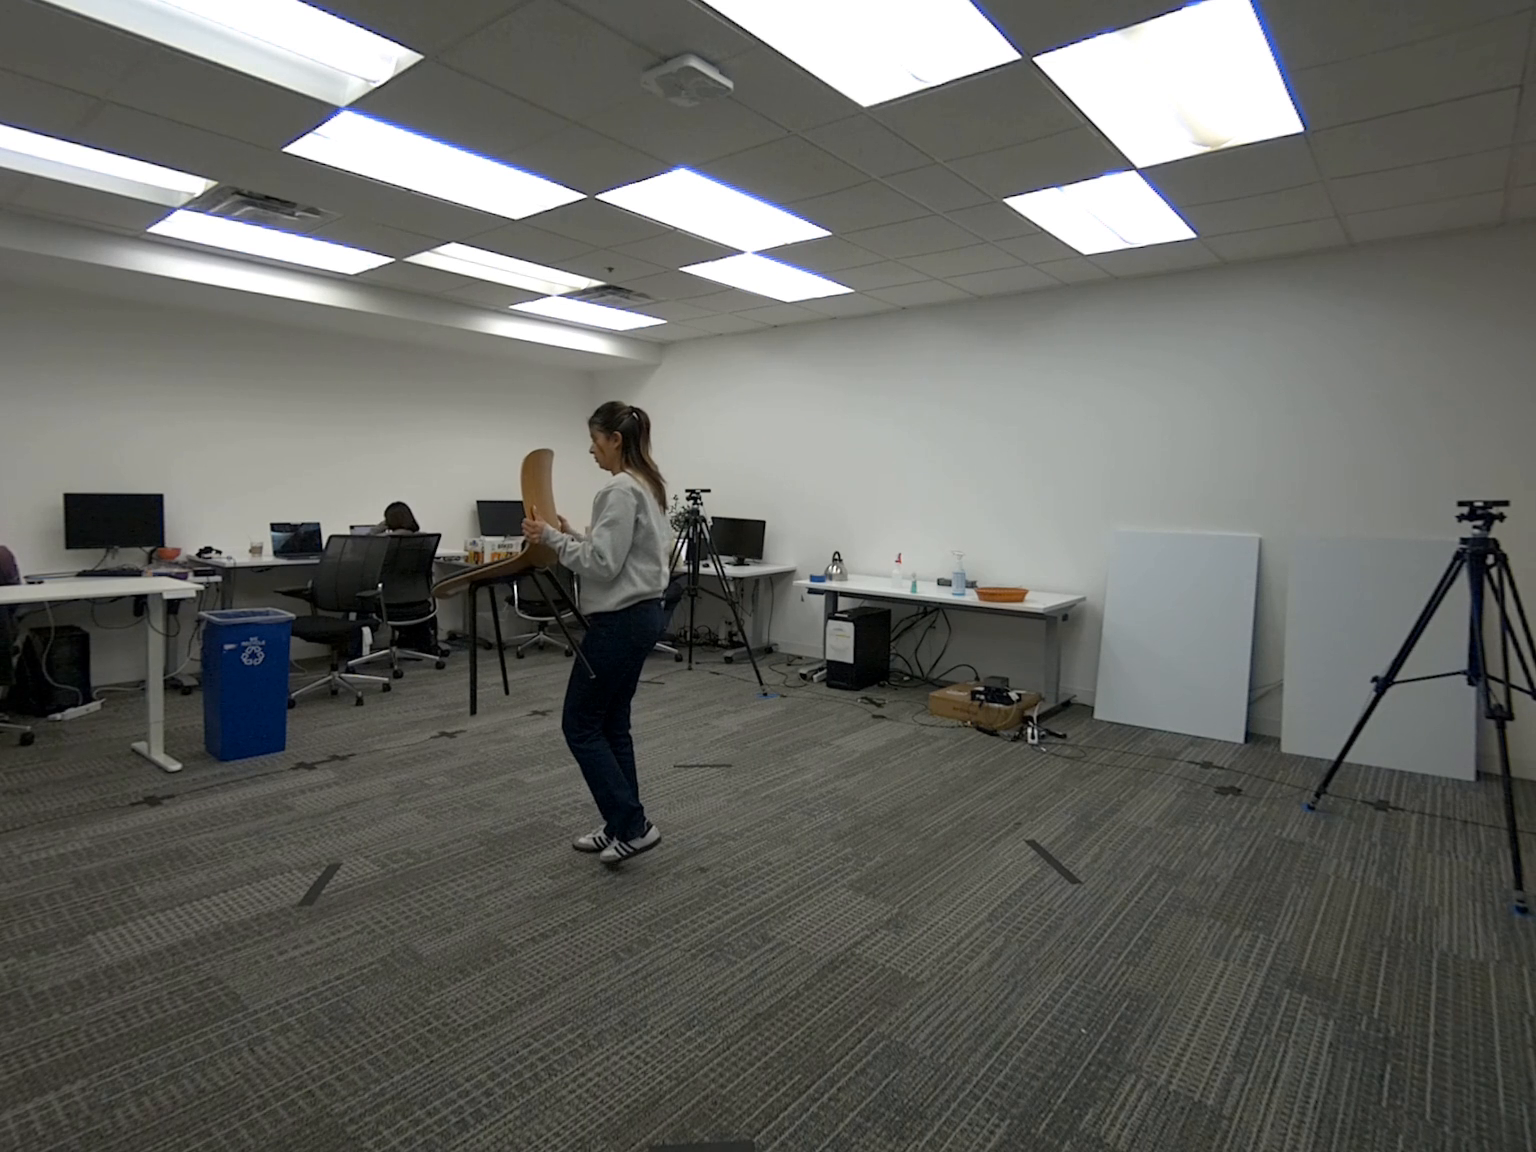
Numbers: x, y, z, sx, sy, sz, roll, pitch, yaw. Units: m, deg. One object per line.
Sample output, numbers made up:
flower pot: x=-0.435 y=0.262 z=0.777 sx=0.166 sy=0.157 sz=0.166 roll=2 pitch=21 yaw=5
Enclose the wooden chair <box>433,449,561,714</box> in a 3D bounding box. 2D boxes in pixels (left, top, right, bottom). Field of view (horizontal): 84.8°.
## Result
wooden chair: x=-0.991 y=0.014 z=3.192 sx=0.523 sy=0.878 sz=0.478 roll=-14 pitch=0 yaw=0
